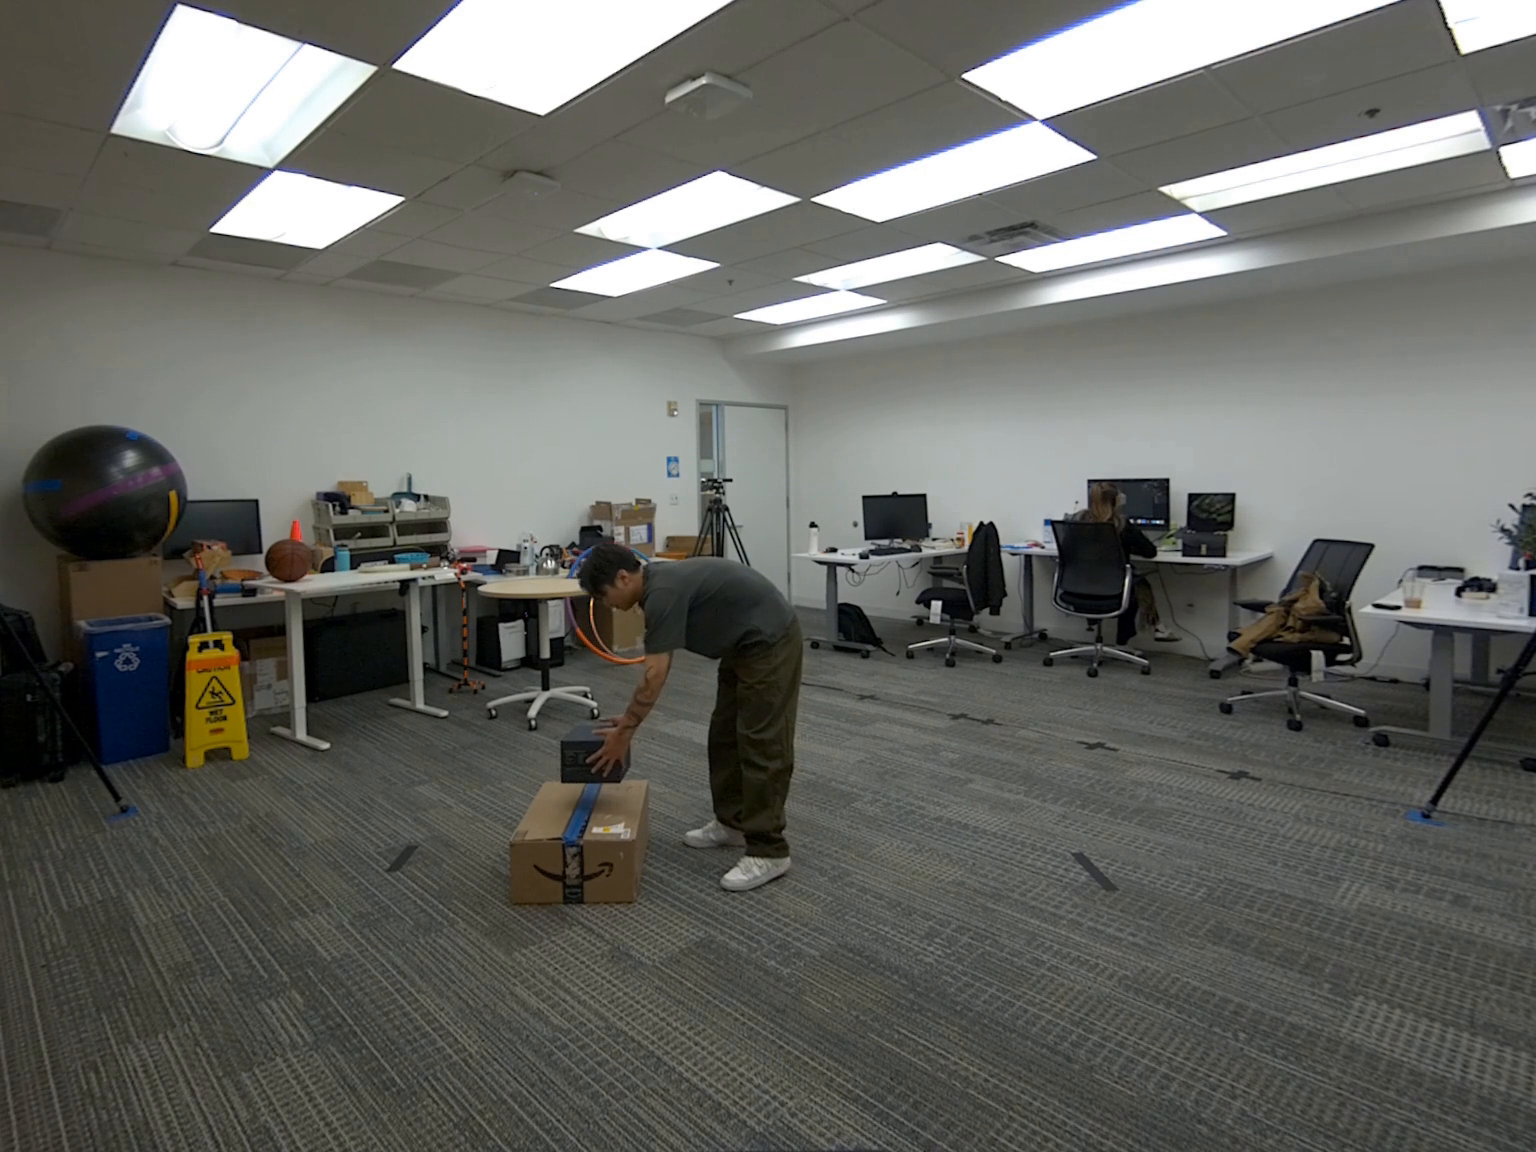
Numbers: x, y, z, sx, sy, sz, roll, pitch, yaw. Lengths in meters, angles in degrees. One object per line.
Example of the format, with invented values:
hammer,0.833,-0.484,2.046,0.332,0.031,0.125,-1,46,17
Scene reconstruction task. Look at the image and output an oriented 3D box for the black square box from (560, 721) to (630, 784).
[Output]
black square box,-0.634,0.650,3.151,0.217,0.155,0.228,-1,4,1
